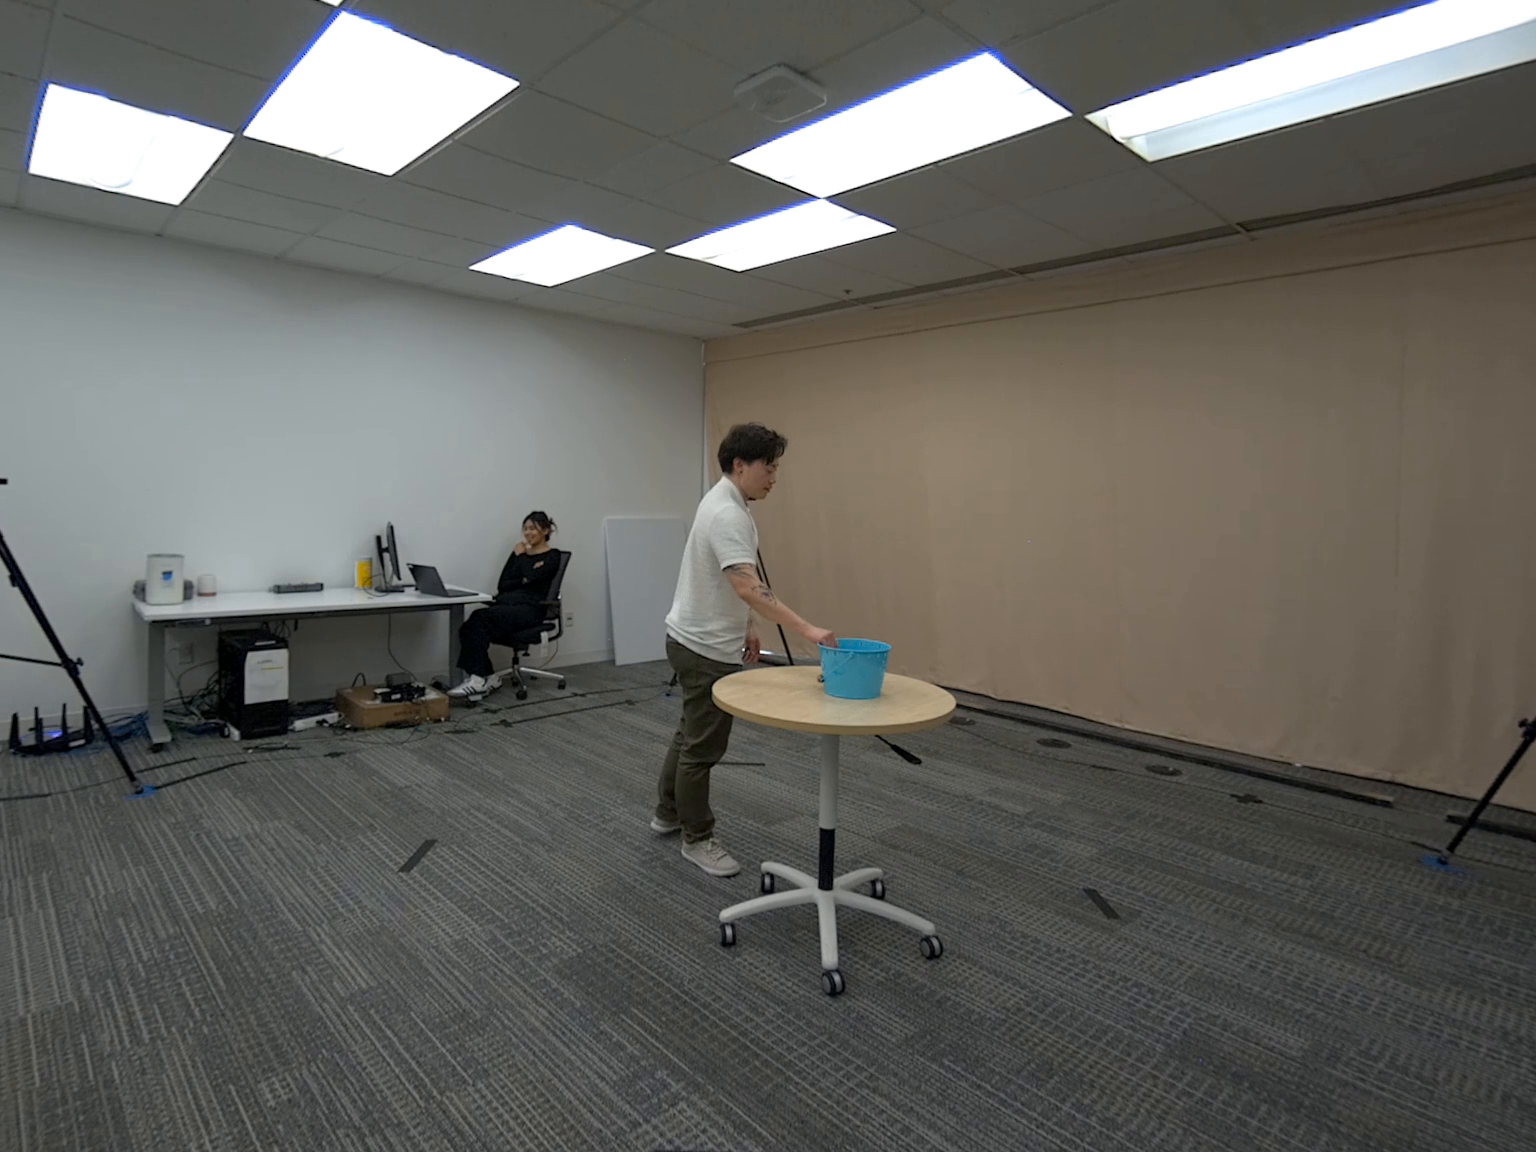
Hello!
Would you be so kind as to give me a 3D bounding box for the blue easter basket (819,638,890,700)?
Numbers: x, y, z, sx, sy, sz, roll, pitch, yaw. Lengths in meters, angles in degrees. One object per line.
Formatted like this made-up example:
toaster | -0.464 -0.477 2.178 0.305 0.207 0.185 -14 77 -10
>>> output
blue easter basket | 0.265 0.296 2.682 0.243 0.155 0.244 2 5 -2
